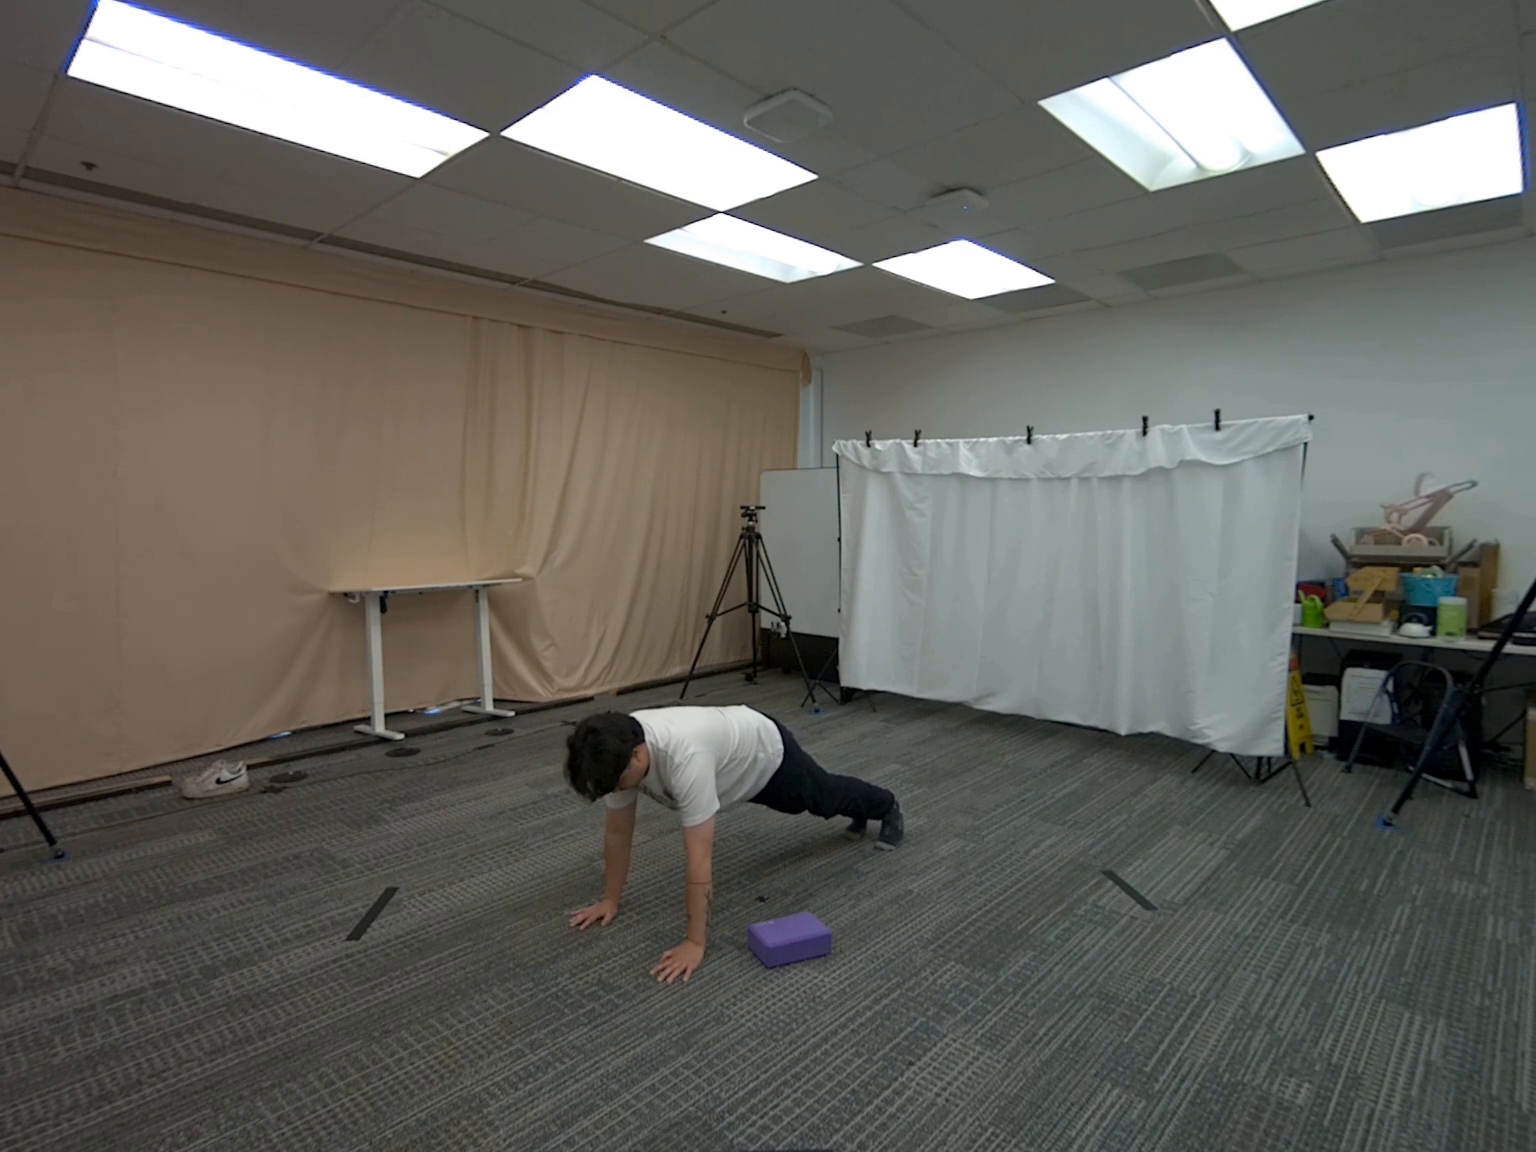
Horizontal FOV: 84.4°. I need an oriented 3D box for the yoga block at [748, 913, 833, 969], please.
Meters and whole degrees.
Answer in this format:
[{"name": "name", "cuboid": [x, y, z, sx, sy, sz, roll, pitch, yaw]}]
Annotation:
[{"name": "yoga block", "cuboid": [0.066, 1.127, 2.633, 0.224, 0.076, 0.153, -2, 4, -25]}]
